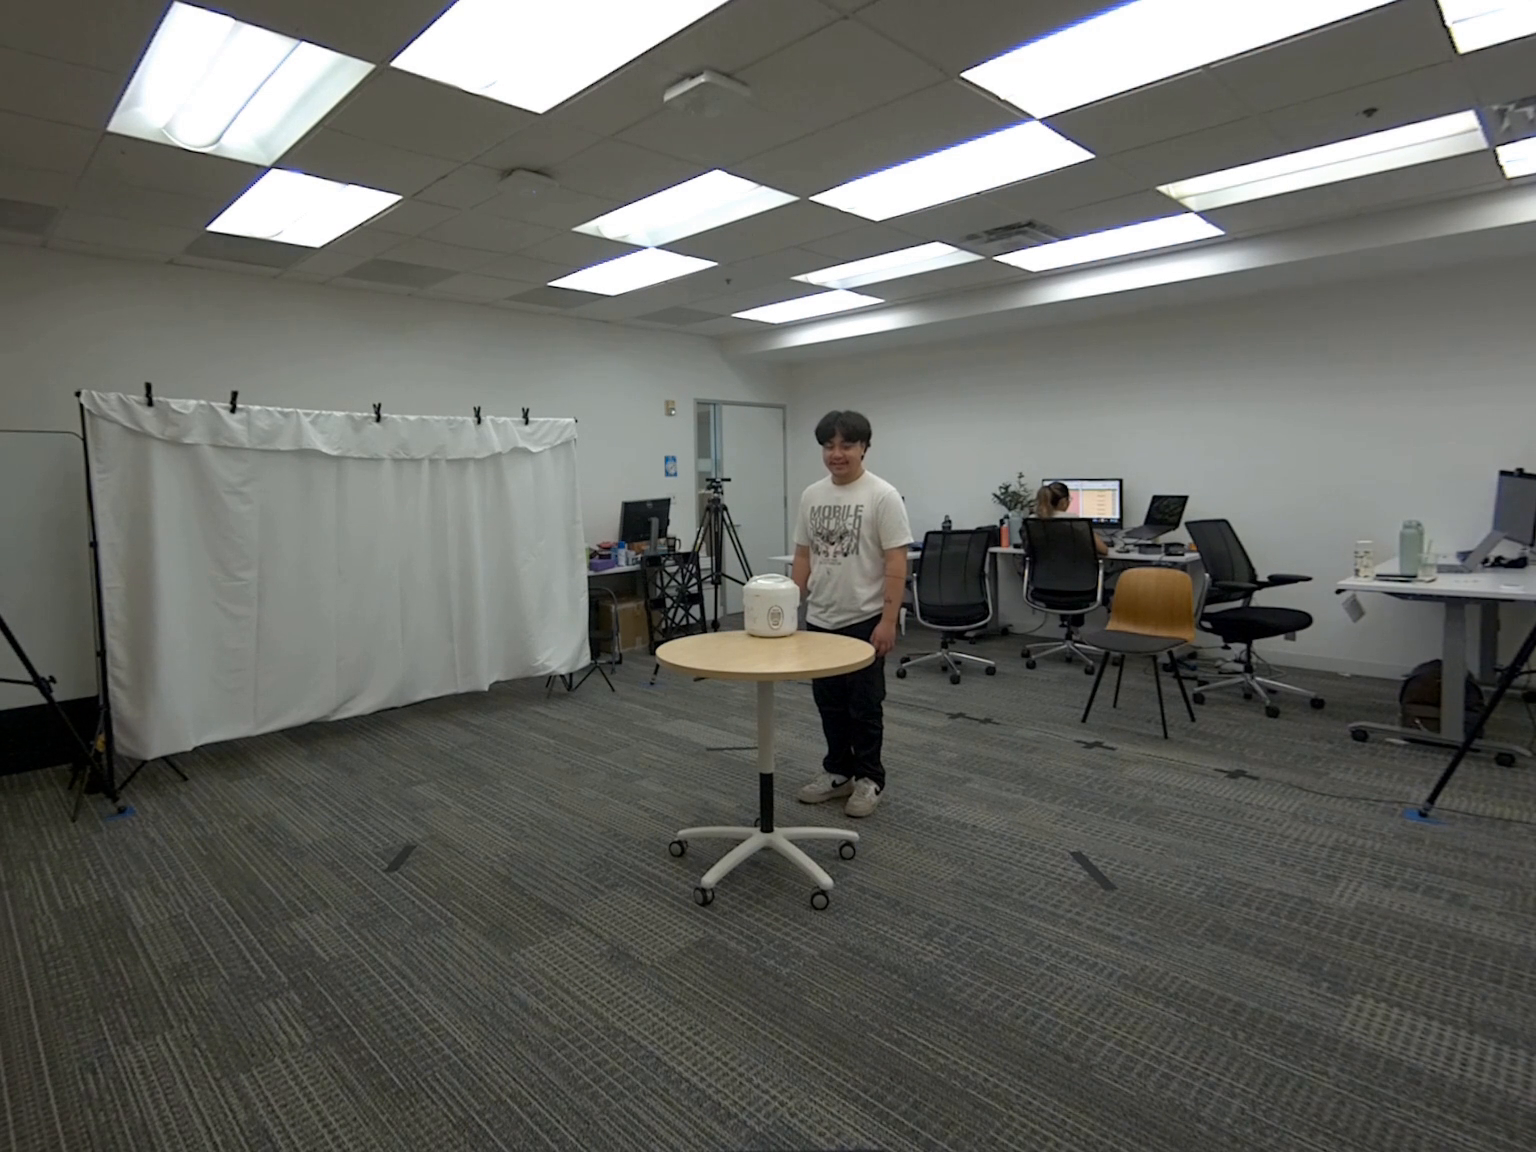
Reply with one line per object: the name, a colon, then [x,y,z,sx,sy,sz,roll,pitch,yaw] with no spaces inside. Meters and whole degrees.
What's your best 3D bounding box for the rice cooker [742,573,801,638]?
rice cooker: [0.011,0.108,3.290,0.219,0.232,0.219,-2,3,-6]
